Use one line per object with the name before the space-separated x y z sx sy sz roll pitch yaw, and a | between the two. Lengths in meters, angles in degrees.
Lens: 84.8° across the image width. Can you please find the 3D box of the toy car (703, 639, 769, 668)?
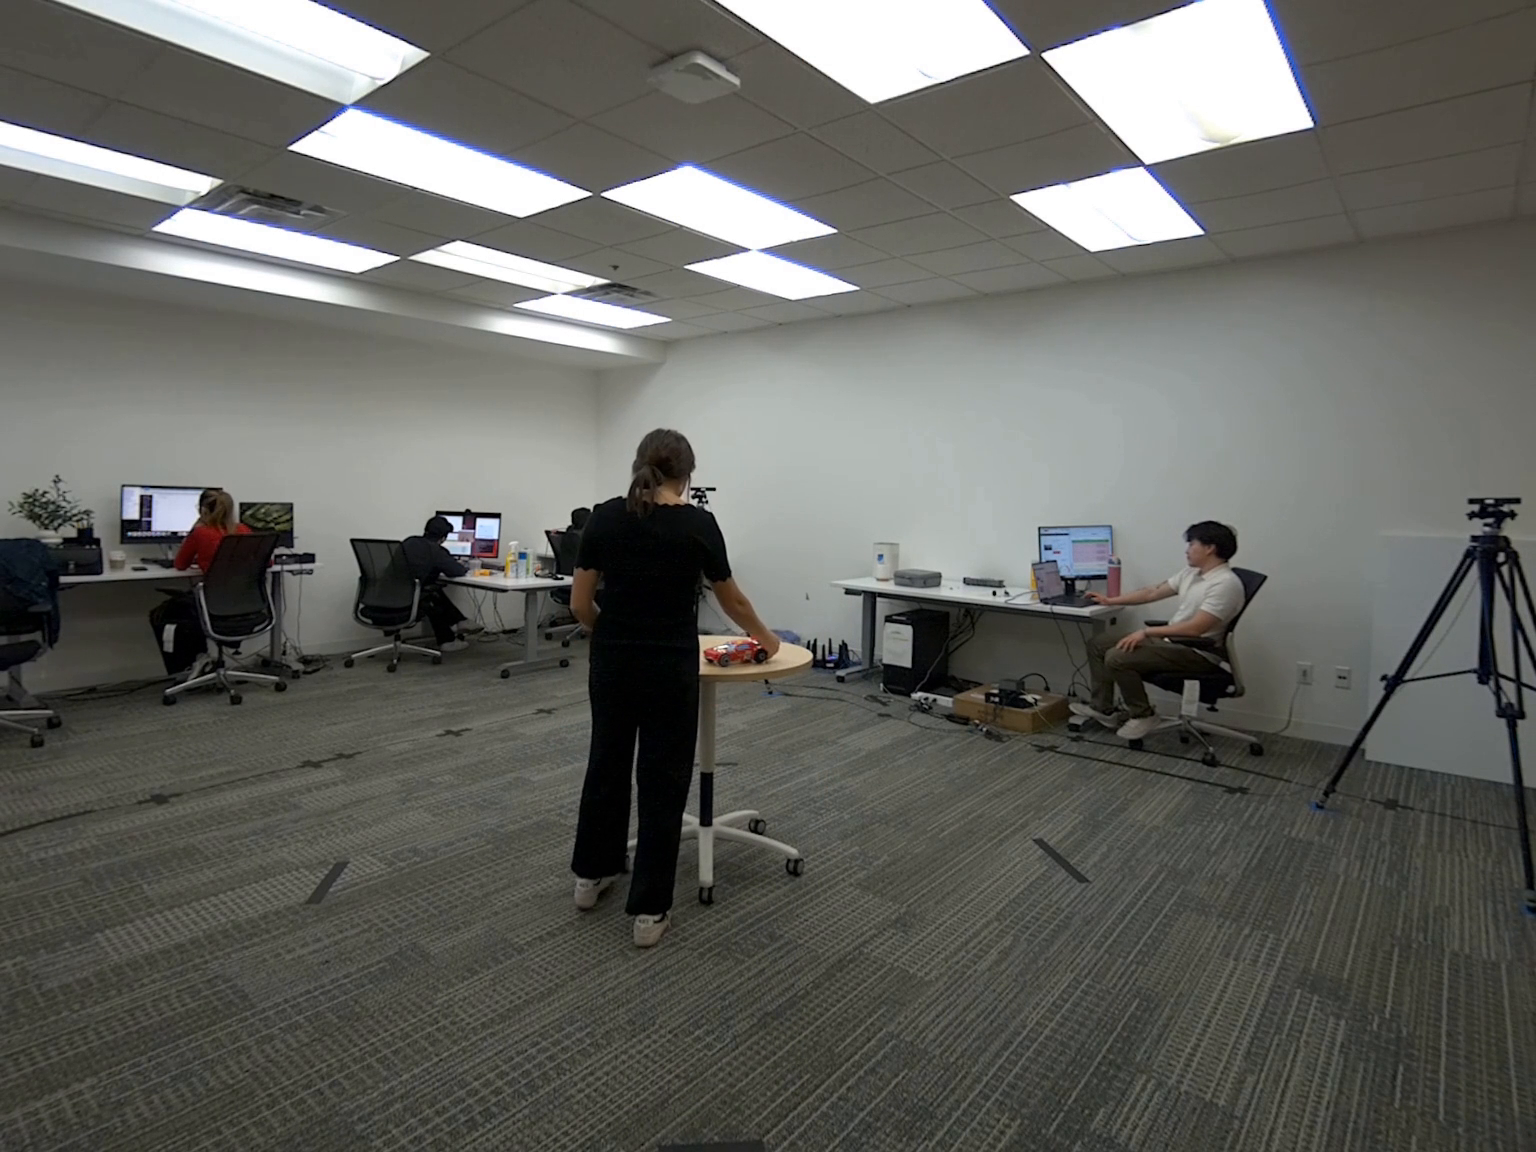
toy car | -0.107 0.264 2.973 0.249 0.082 0.134 -15 11 -29
